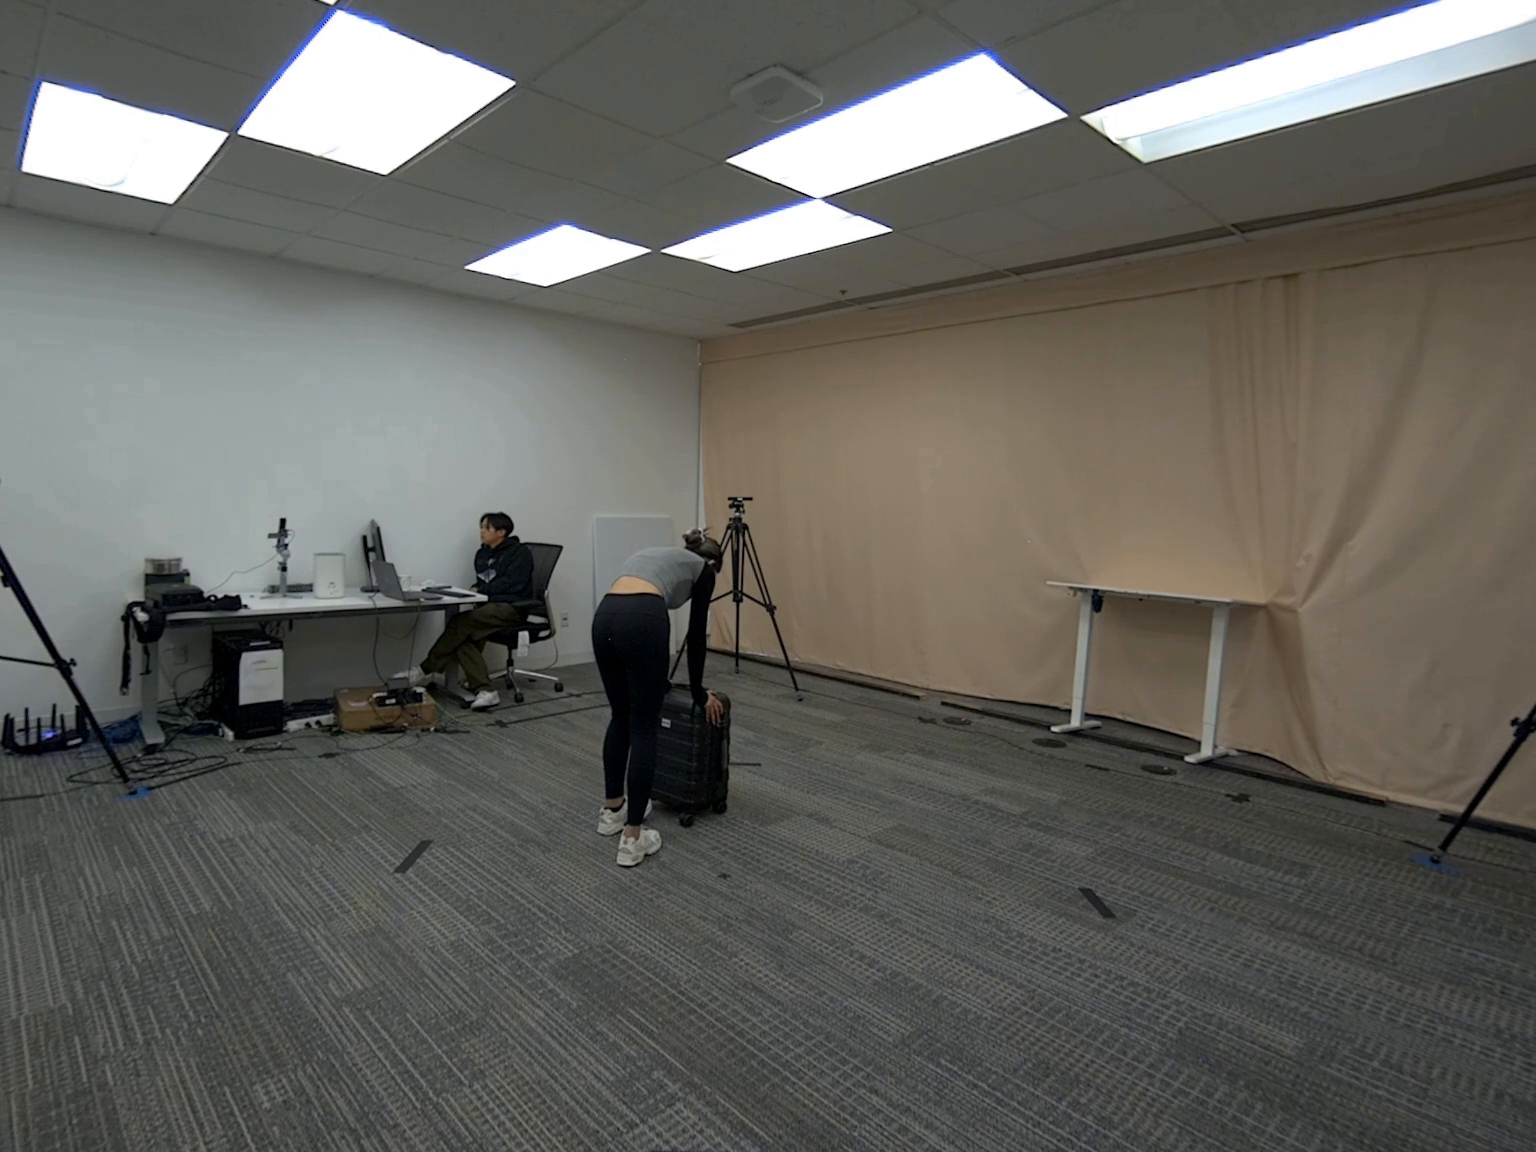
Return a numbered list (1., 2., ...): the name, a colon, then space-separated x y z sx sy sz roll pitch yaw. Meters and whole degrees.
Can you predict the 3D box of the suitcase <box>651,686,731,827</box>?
1. suitcase: -0.372 0.772 3.764 0.385 0.549 0.242 5 2 40
